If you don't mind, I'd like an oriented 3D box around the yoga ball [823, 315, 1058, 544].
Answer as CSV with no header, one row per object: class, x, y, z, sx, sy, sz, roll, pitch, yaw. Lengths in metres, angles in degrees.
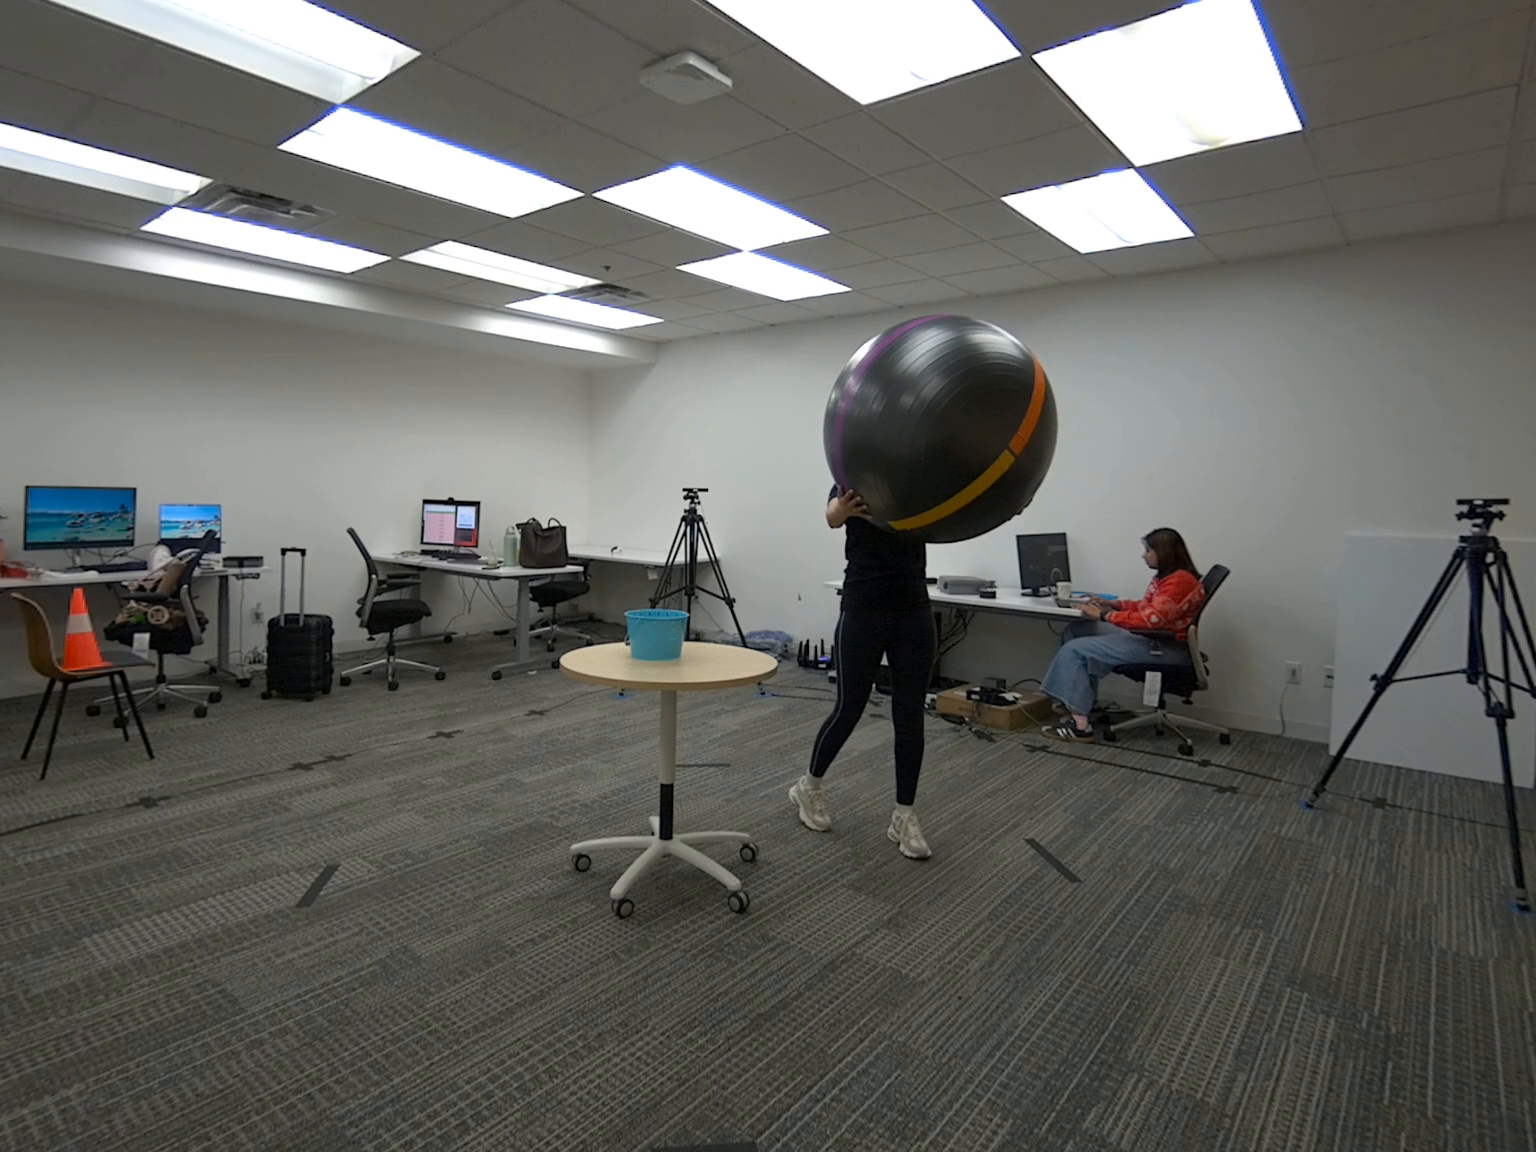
yoga ball,0.558,-0.483,2.849,0.757,0.756,0.761,1,4,-2
